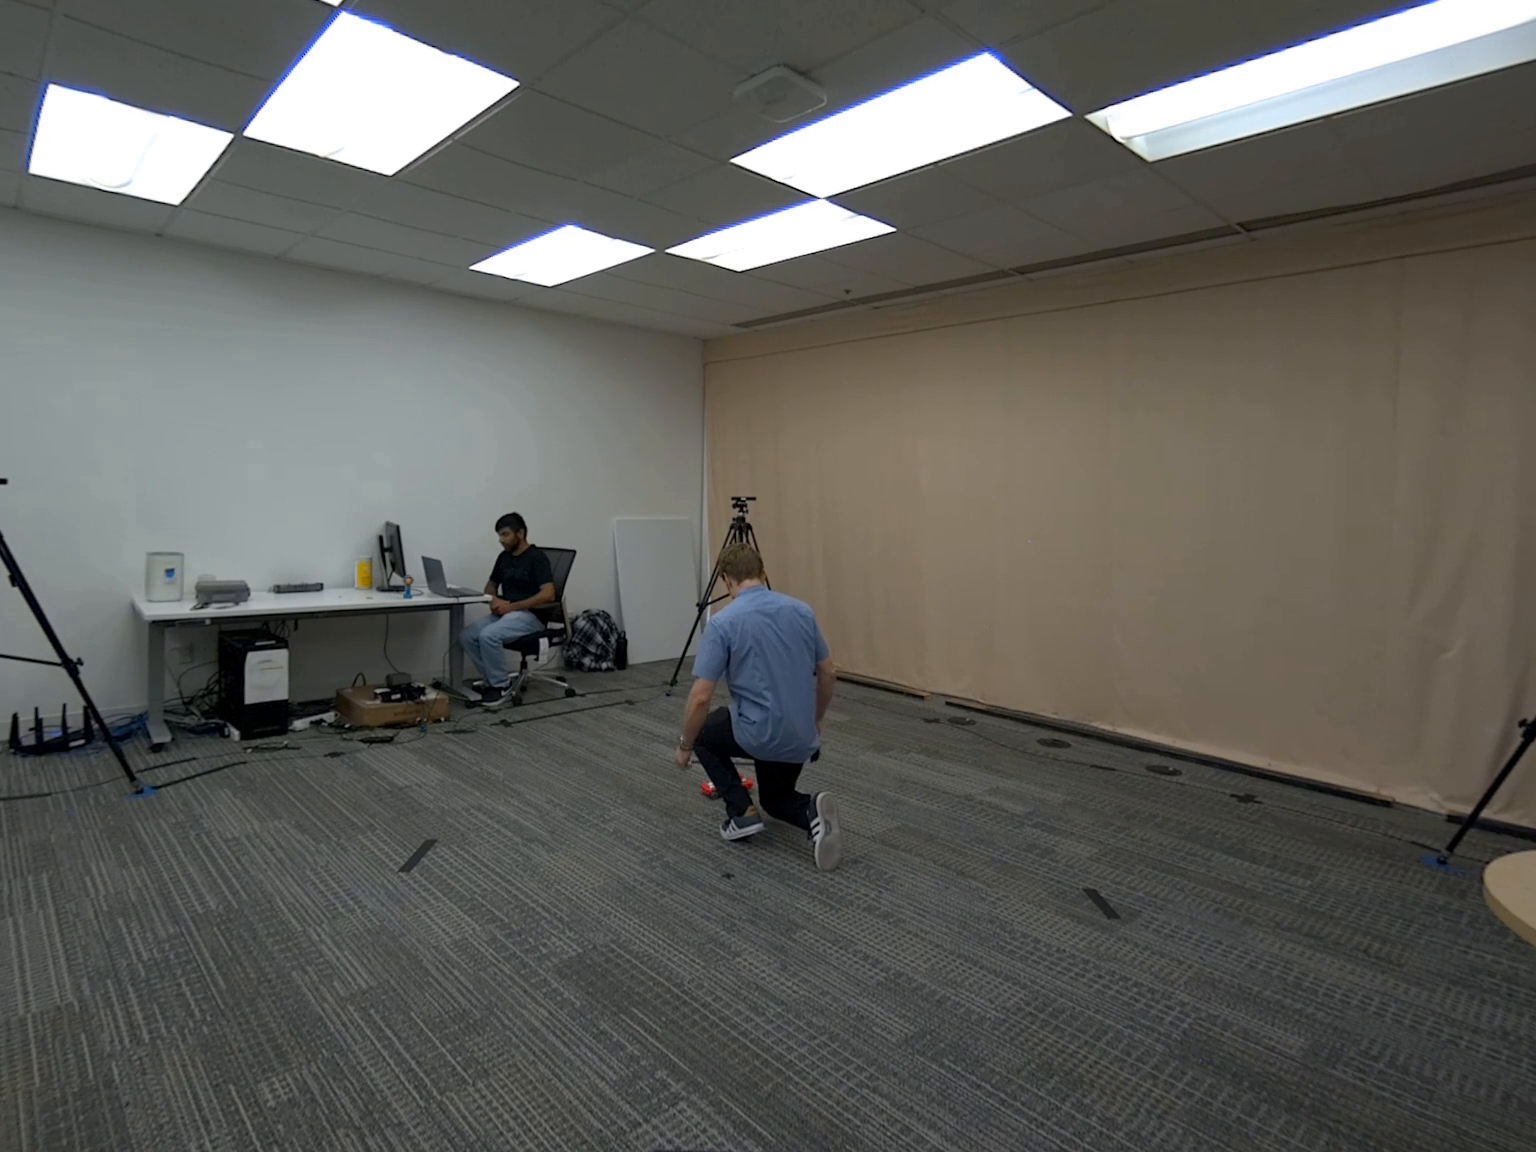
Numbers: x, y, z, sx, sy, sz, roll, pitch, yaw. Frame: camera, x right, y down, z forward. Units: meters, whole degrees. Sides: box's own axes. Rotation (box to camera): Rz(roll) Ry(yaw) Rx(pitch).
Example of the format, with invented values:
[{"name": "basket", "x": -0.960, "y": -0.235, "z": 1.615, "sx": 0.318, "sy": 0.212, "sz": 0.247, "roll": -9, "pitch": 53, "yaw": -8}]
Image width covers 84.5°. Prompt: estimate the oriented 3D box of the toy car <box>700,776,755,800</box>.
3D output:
[{"name": "toy car", "x": -0.201, "y": 0.998, "z": 3.985, "sx": 0.251, "sy": 0.083, "sz": 0.133, "roll": -11, "pitch": 8, "yaw": -23}]
